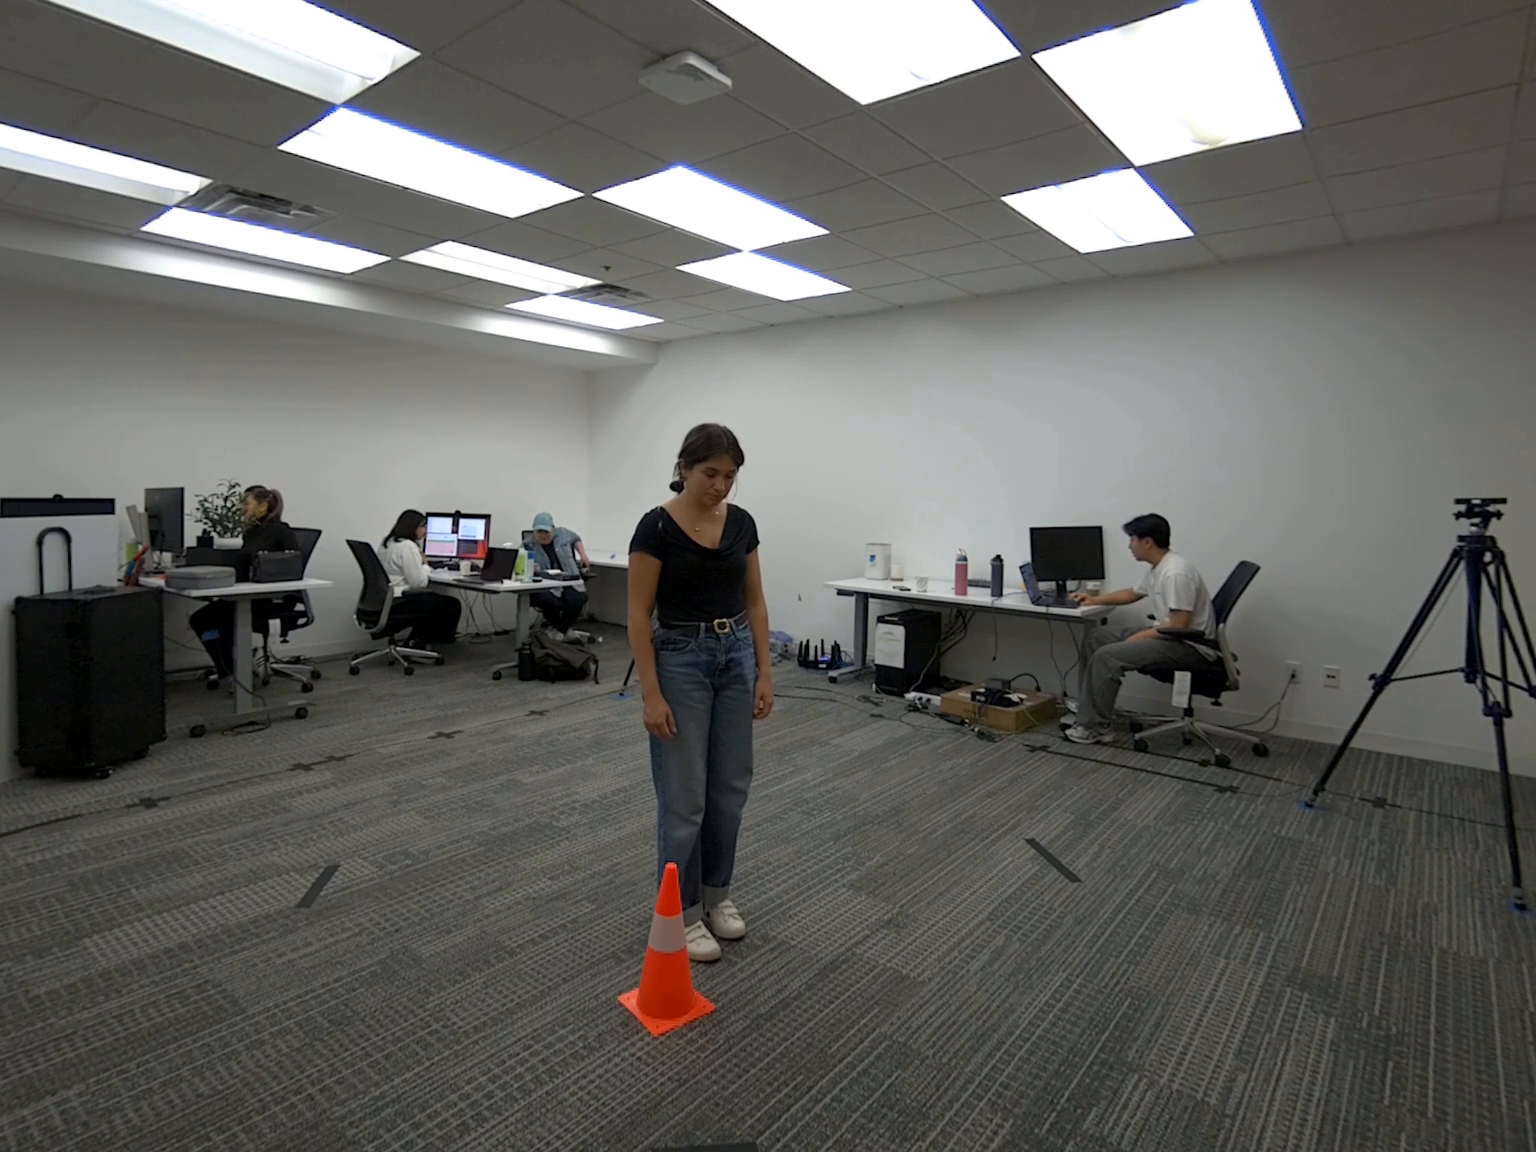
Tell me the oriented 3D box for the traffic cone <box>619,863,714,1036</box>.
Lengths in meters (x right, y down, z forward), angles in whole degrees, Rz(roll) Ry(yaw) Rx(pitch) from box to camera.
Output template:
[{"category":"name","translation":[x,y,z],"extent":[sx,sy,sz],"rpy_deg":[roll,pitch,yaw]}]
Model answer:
[{"category":"traffic cone","translation":[-0.276,0.959,2.288],"extent":[0.199,0.382,0.210],"rpy_deg":[-3,4,-35]}]
